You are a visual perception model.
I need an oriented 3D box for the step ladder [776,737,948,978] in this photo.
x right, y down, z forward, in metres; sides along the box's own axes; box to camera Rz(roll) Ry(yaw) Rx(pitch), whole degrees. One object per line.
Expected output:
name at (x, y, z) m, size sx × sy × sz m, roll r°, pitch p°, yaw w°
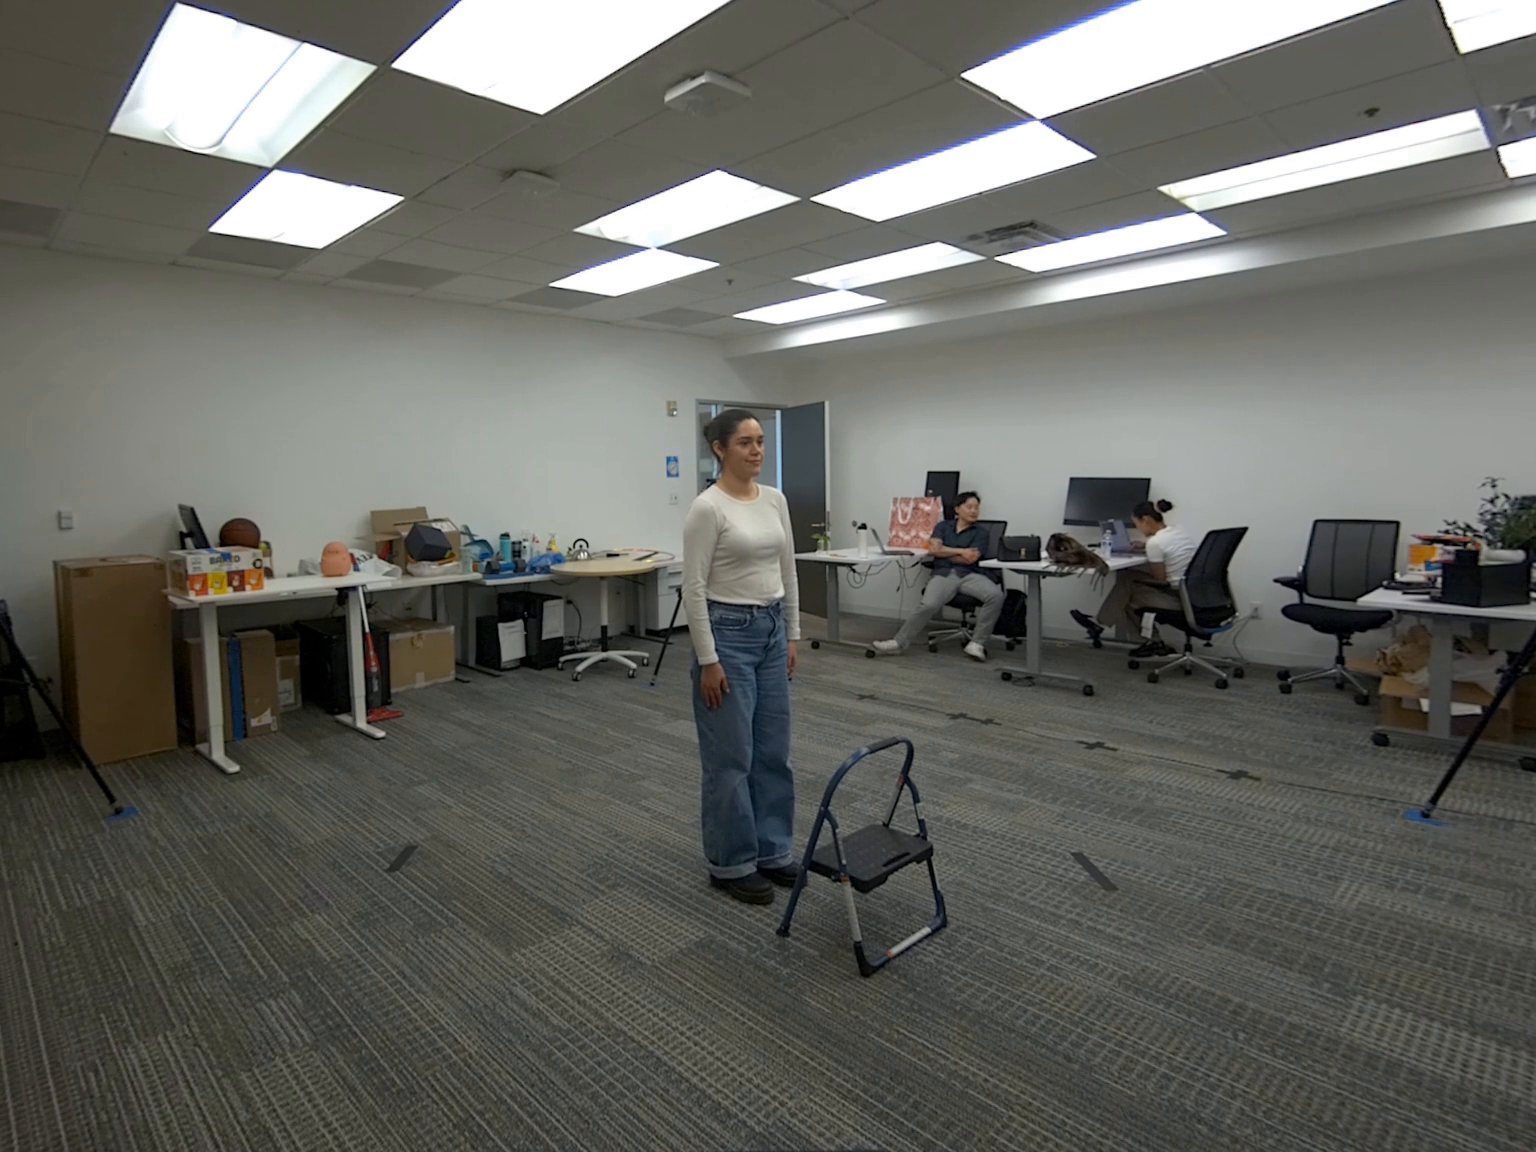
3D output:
step ladder at (0.291, 0.792, 2.623) m, size 0.360 × 0.604 × 0.419 m, roll 3°, pitch 6°, yaw 45°
